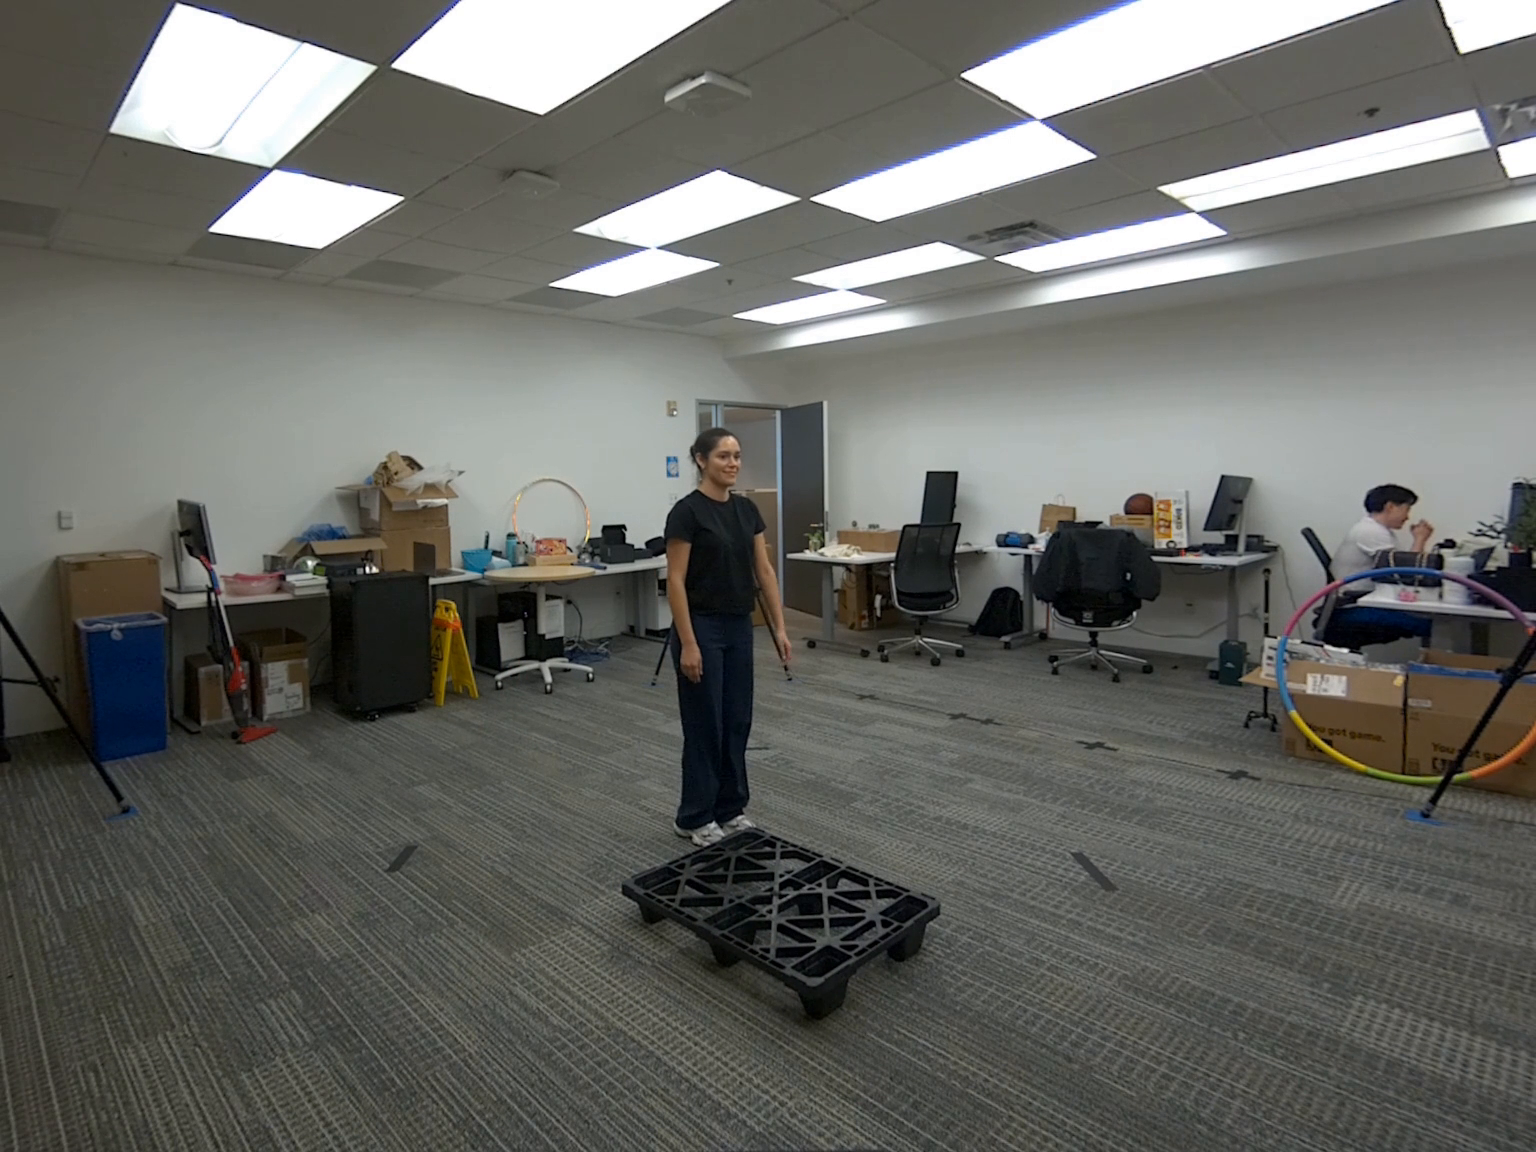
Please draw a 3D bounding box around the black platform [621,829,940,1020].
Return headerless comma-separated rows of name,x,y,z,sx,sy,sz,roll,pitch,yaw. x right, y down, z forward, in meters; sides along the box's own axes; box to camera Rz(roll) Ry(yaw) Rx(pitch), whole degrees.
black platform,0.027,1.032,2.639,0.831,0.143,0.589,6,9,44
